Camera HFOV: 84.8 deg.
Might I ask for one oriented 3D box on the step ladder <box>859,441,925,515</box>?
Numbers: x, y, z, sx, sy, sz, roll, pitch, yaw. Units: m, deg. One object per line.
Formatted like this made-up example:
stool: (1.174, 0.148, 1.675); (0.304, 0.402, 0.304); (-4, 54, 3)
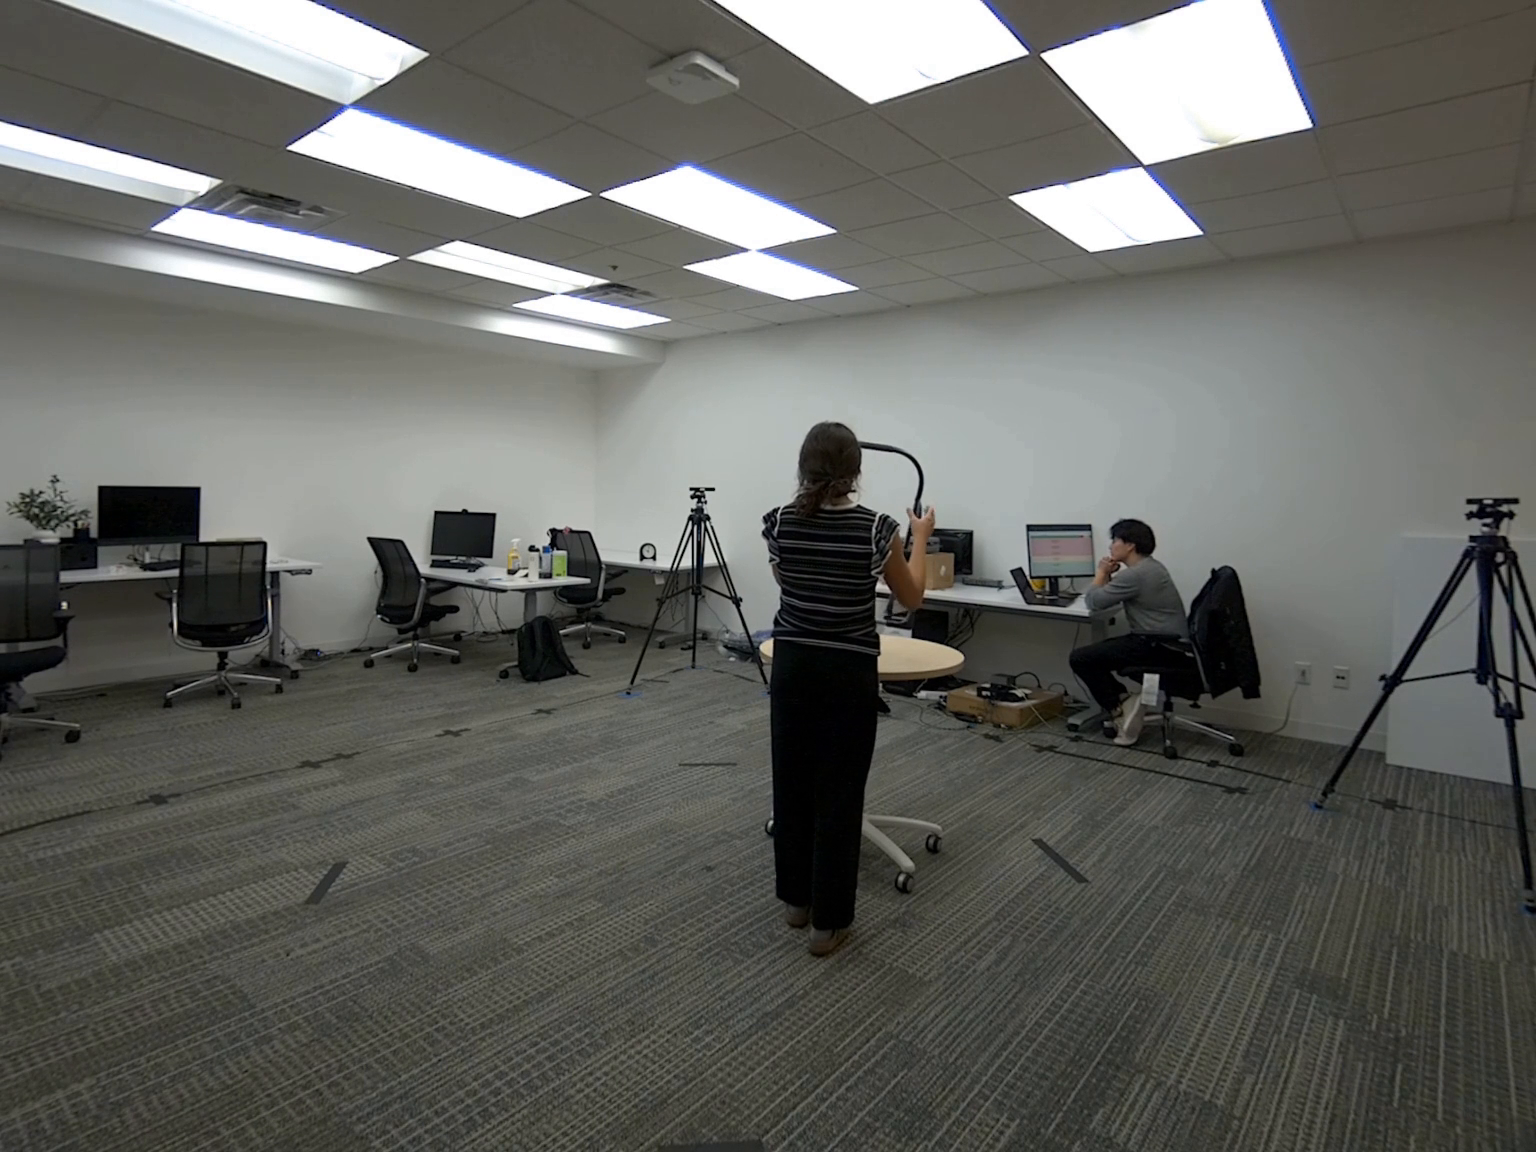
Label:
step ladder: (0.320, -0.162, 2.997); (0.429, 0.603, 0.352); (5, 5, -4)
